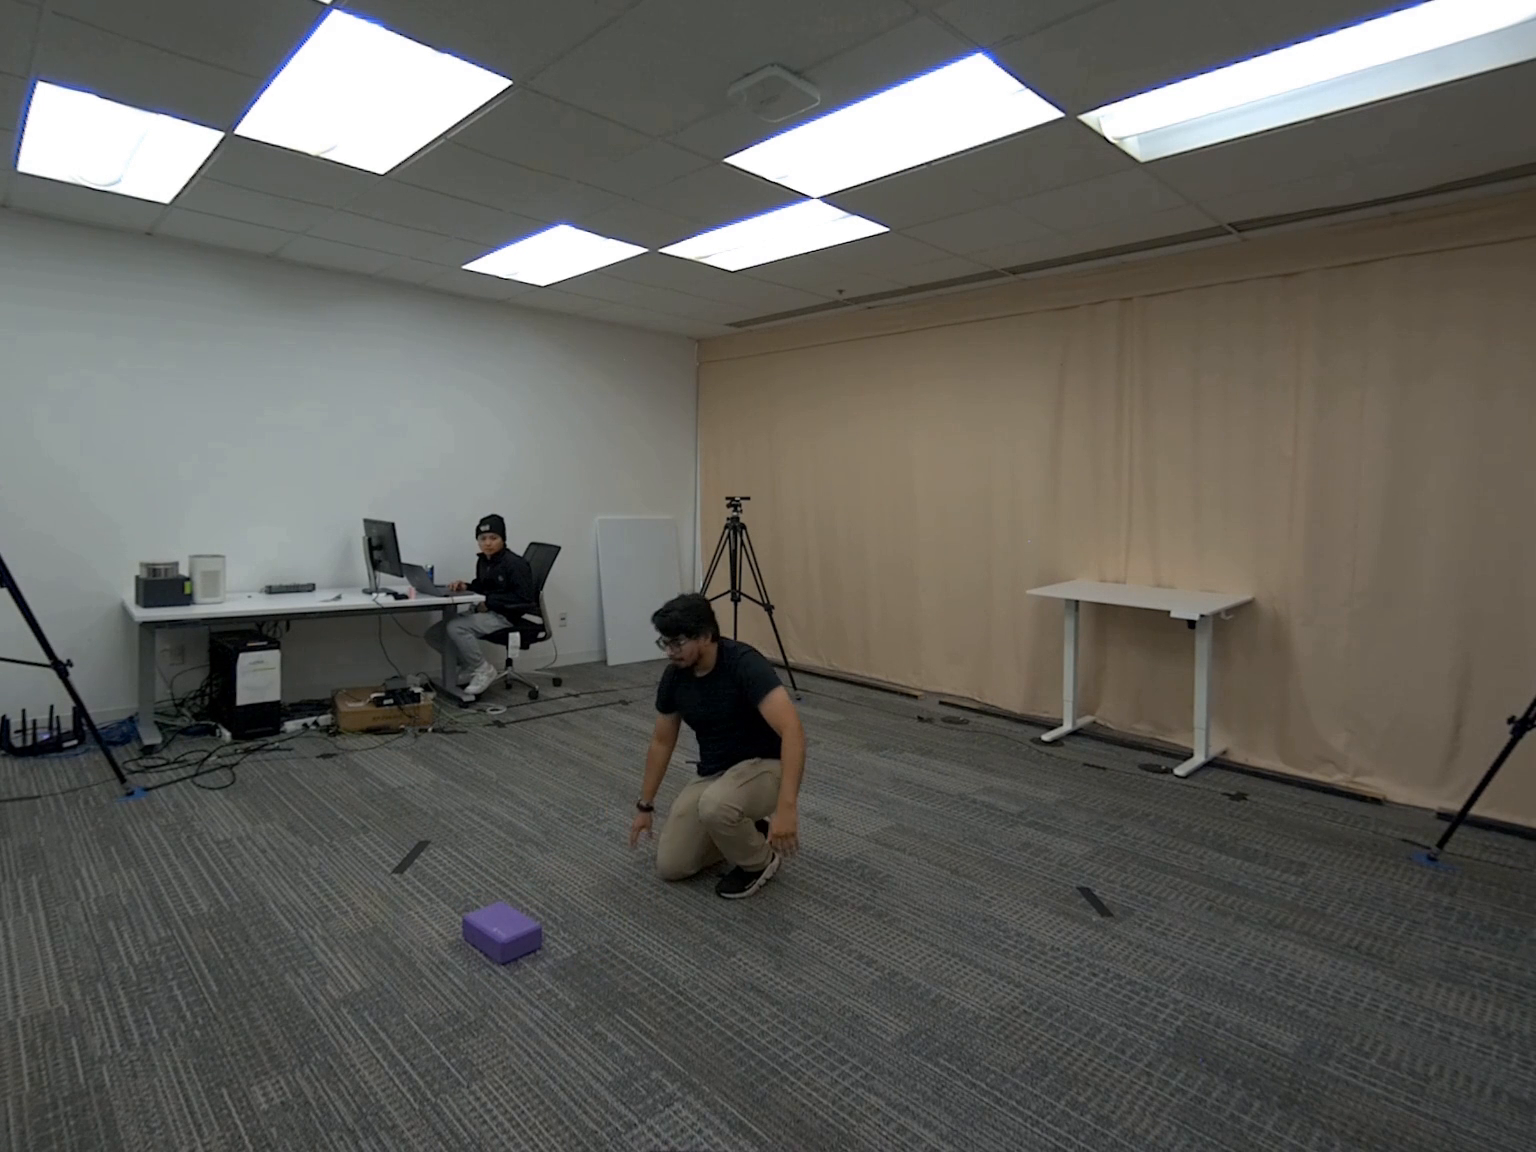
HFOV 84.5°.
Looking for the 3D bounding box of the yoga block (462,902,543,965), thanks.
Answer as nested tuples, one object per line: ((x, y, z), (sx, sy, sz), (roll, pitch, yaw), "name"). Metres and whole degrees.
((-0.829, 1.103, 2.597), (0.235, 0.076, 0.146), (6, 8, 41), "yoga block")
